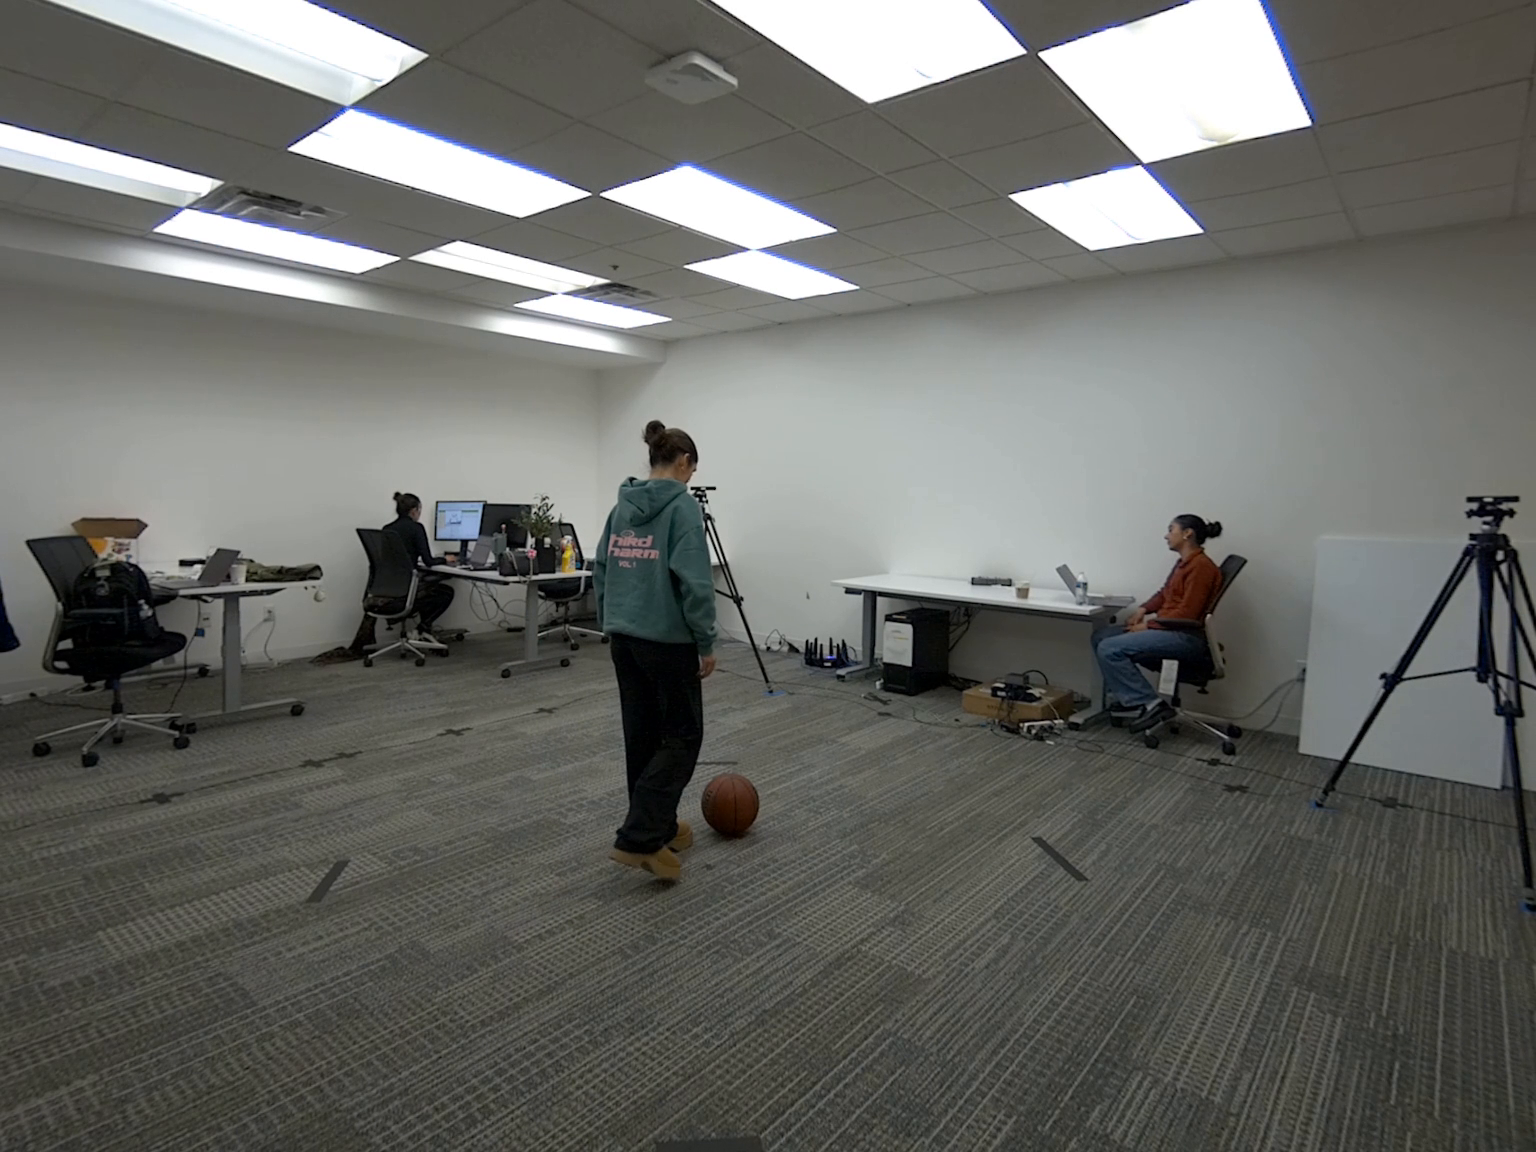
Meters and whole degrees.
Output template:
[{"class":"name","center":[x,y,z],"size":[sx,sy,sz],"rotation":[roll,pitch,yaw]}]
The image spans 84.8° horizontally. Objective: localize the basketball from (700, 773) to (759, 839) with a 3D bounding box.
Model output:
[{"class":"basketball","center":[-0.163,0.912,3.438],"size":[0.235,0.235,0.237],"rotation":[1,4,-2]}]
